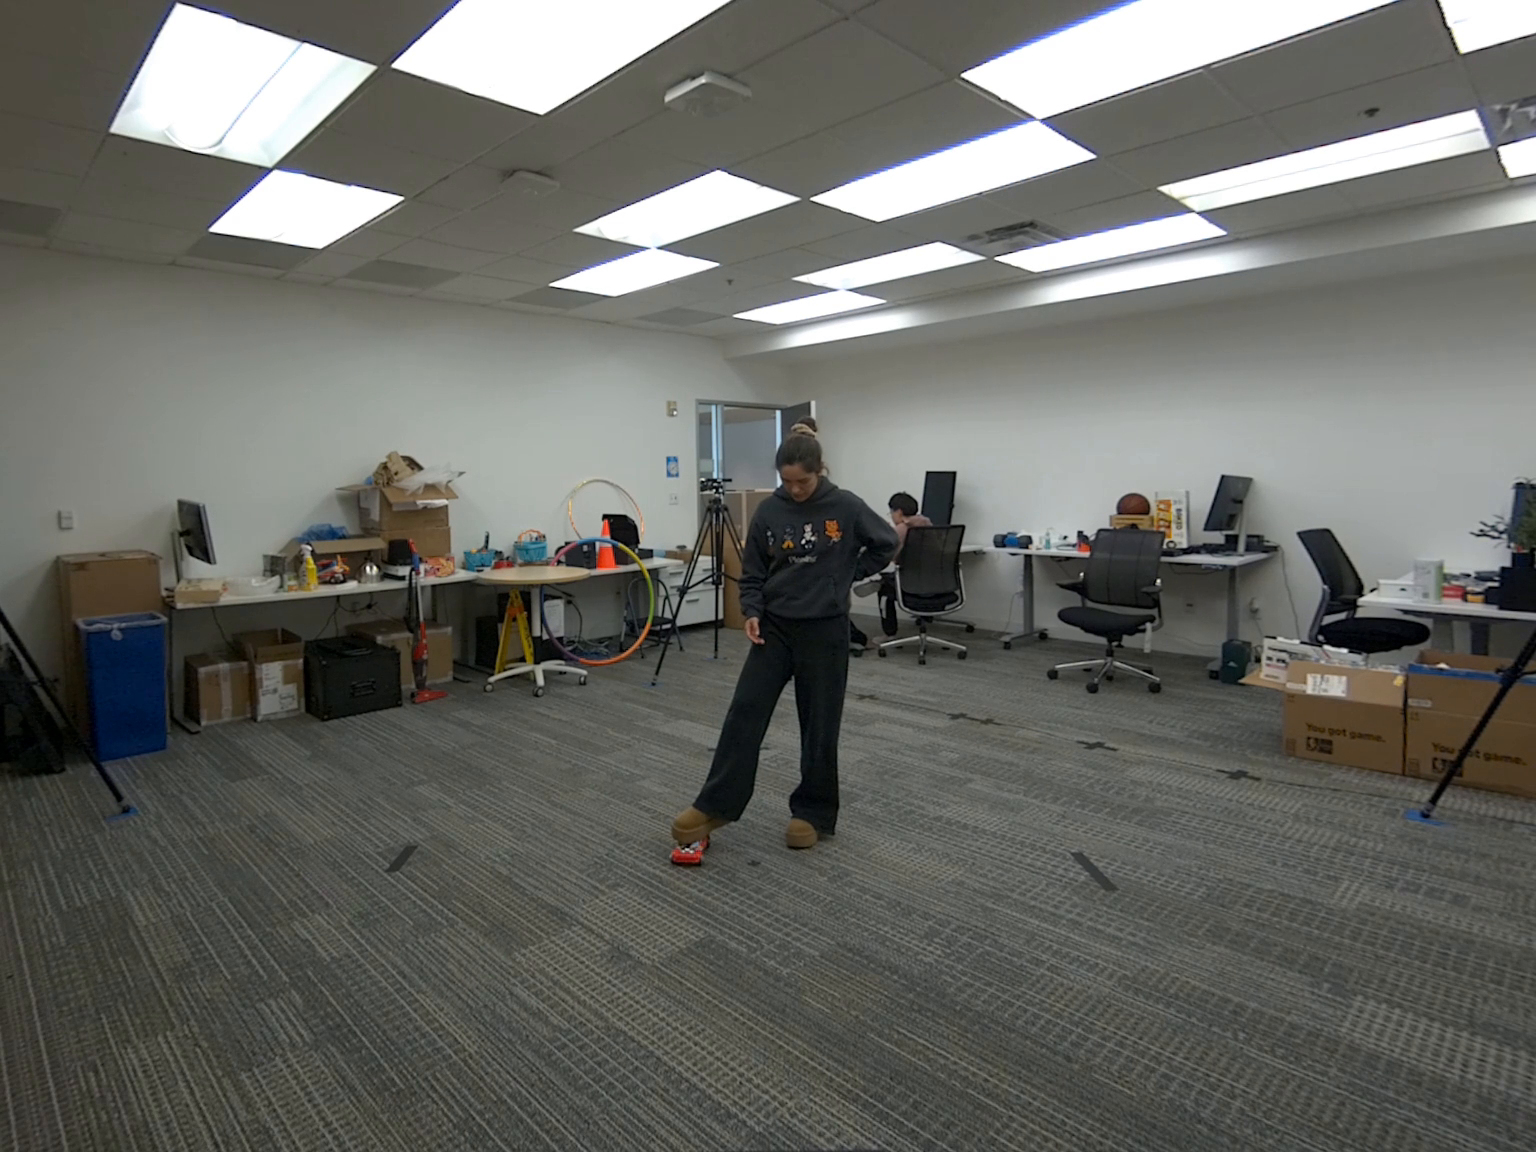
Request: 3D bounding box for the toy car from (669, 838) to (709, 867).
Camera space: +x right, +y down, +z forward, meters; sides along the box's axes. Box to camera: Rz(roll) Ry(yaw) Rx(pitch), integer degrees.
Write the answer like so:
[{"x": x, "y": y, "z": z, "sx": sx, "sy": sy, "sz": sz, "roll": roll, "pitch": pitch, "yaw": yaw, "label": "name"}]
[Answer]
[{"x": -0.281, "y": 1.010, "z": 3.191, "sx": 0.131, "sy": 0.082, "sz": 0.256, "roll": 1, "pitch": 17, "yaw": 7, "label": "toy car"}]
